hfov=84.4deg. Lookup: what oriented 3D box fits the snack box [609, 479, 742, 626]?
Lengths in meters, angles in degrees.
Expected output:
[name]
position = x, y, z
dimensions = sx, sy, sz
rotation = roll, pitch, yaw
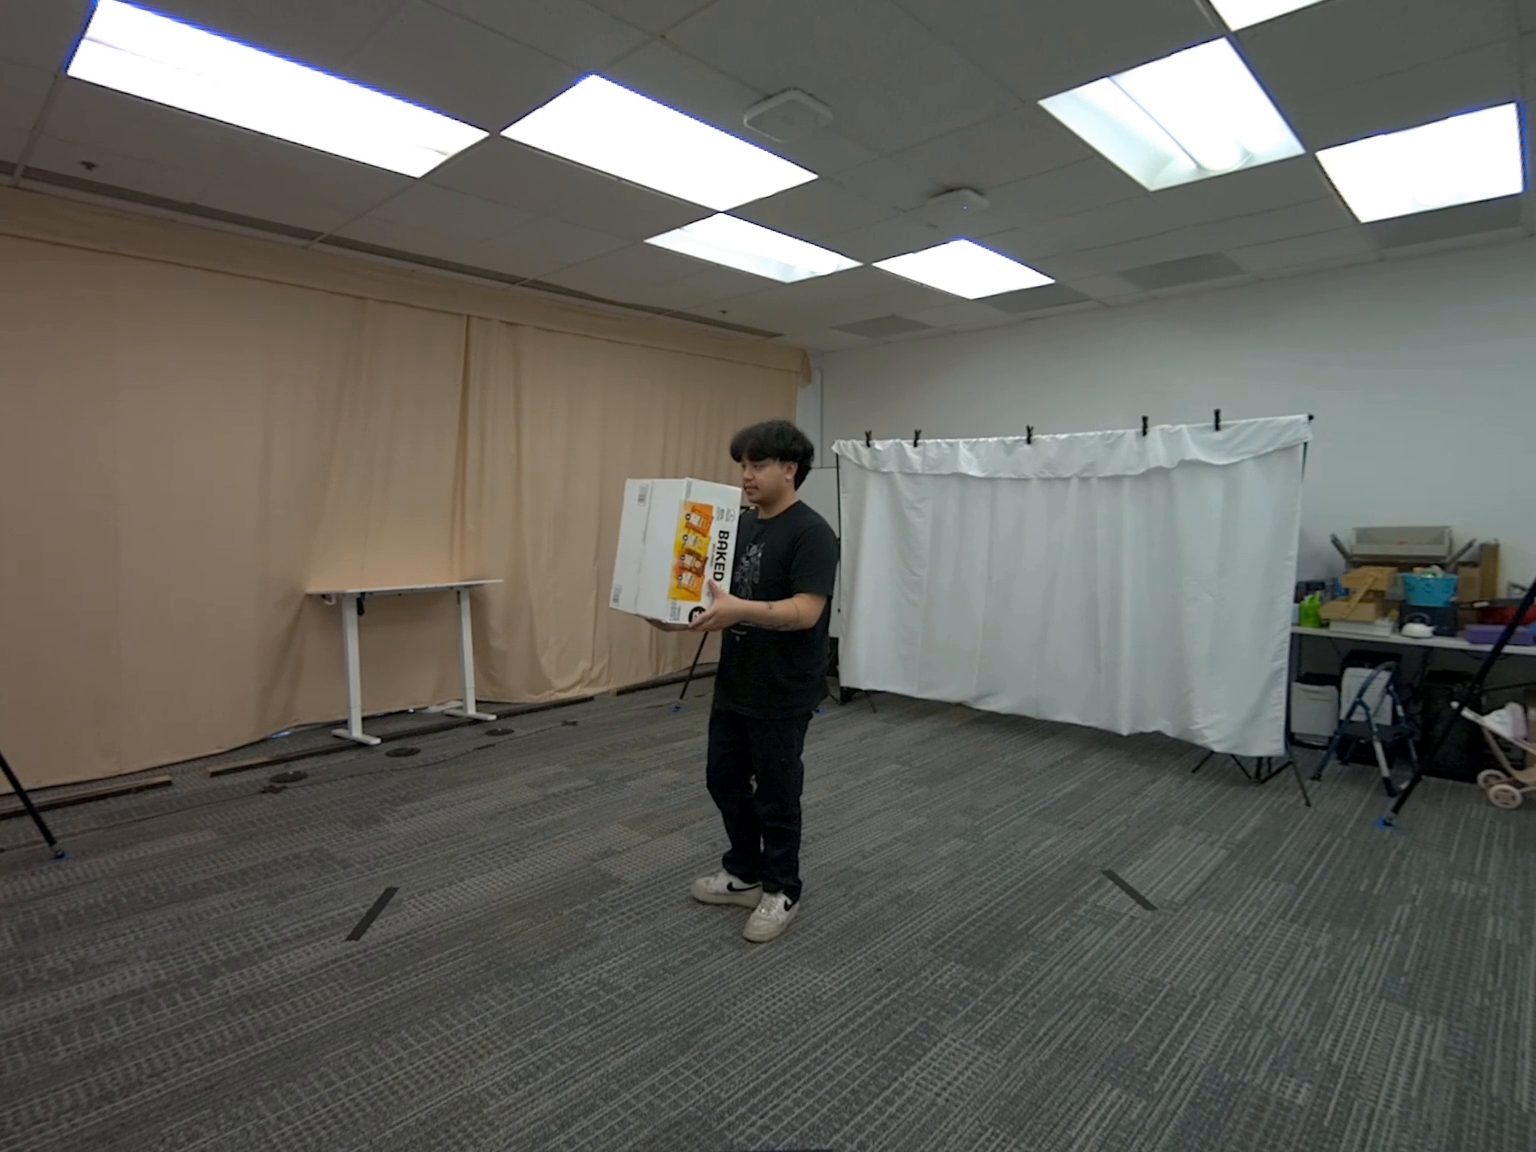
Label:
[snack box]
position = -0.282, -0.075, 2.522
dimensions = 0.199, 0.405, 0.351
rotation = 7, 0, -37
